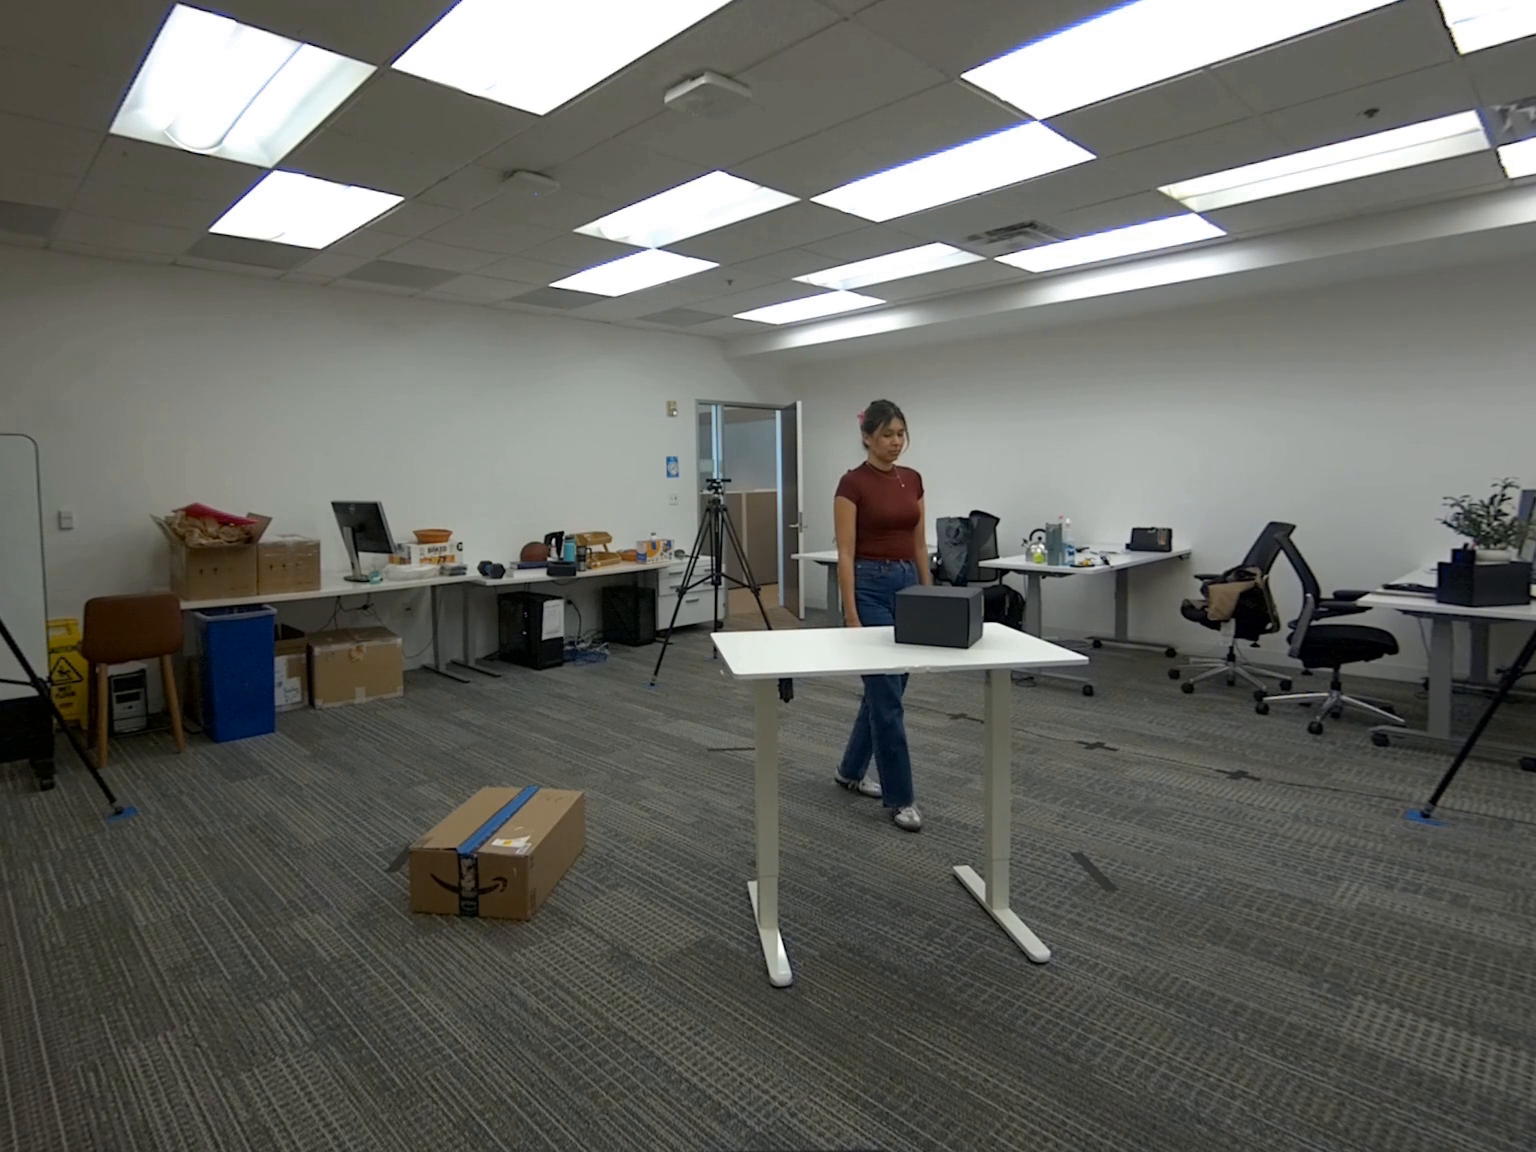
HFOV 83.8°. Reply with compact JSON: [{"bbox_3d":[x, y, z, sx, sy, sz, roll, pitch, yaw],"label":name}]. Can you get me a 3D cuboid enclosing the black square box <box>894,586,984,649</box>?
[{"bbox_3d":[0.540,0.124,2.670,0.233,0.155,0.213,2,7,26],"label":"black square box"}]
